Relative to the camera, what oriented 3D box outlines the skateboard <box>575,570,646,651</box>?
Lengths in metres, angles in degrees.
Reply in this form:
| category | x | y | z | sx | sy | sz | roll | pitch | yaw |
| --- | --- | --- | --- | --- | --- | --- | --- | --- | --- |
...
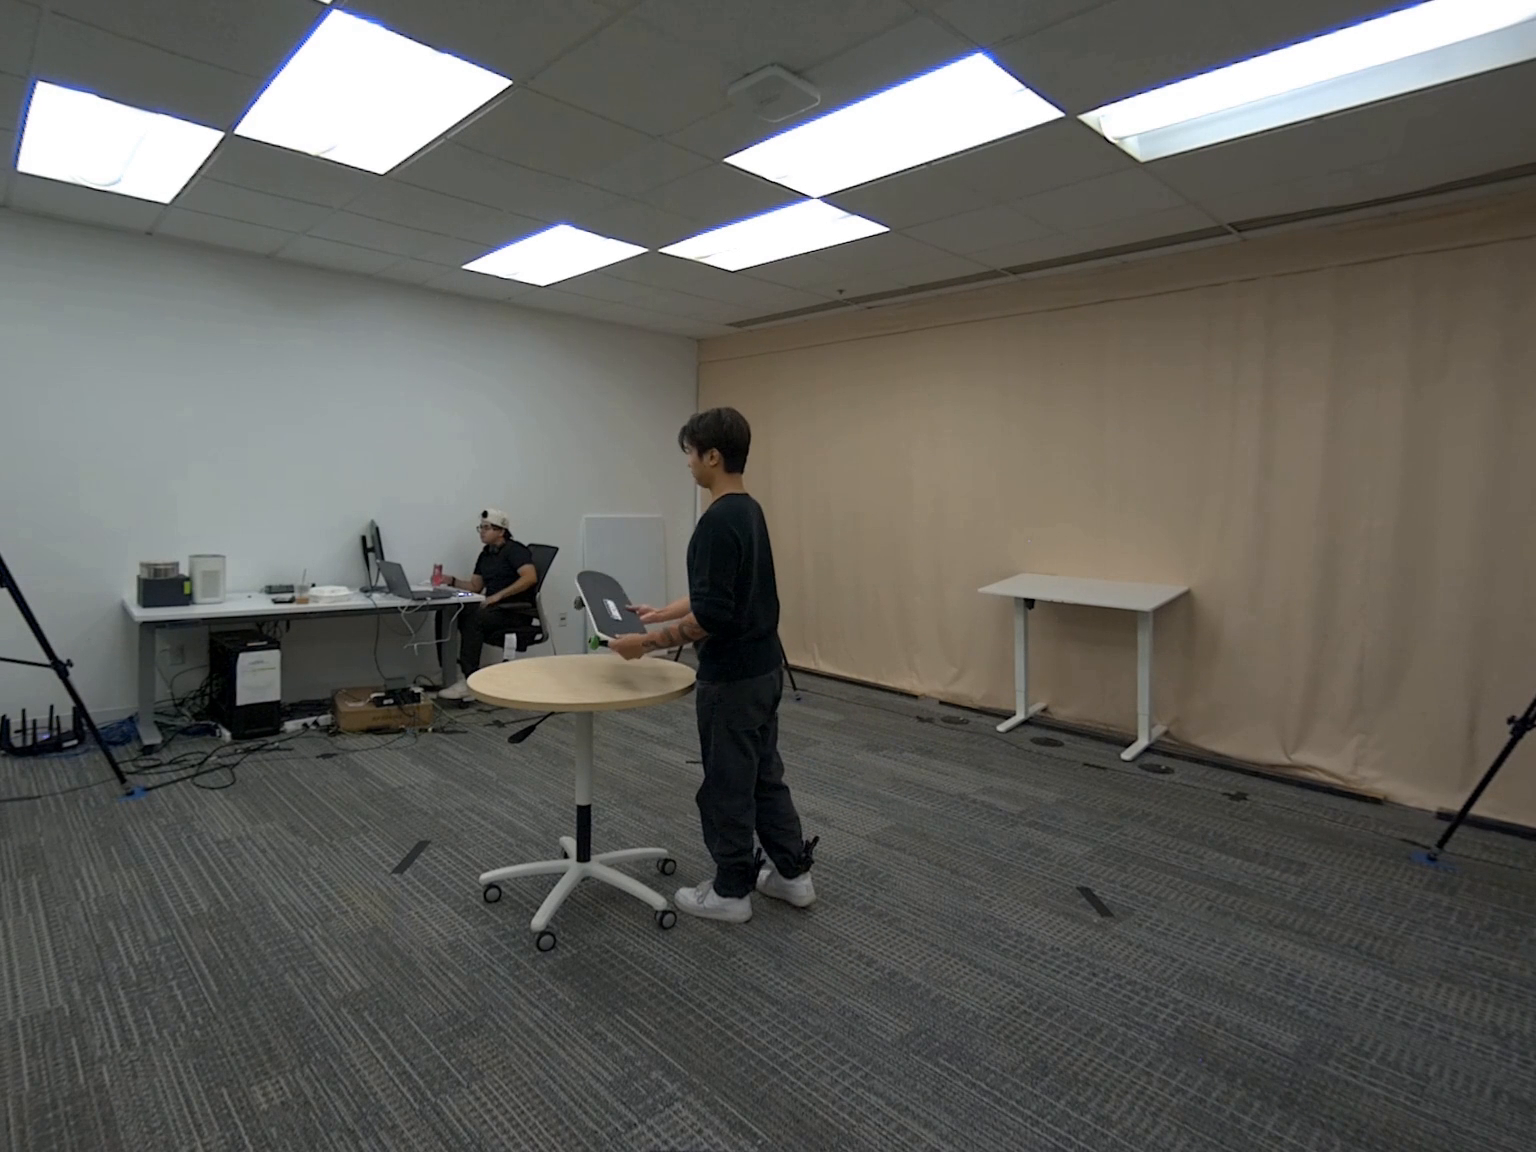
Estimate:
| category | x | y | z | sx | sy | sz | roll | pitch | yaw |
| --- | --- | --- | --- | --- | --- | --- | --- | --- | --- |
| skateboard | -0.557 | 0.160 | 2.962 | 0.190 | 0.110 | 0.804 | 14 | 12 | -22 |
